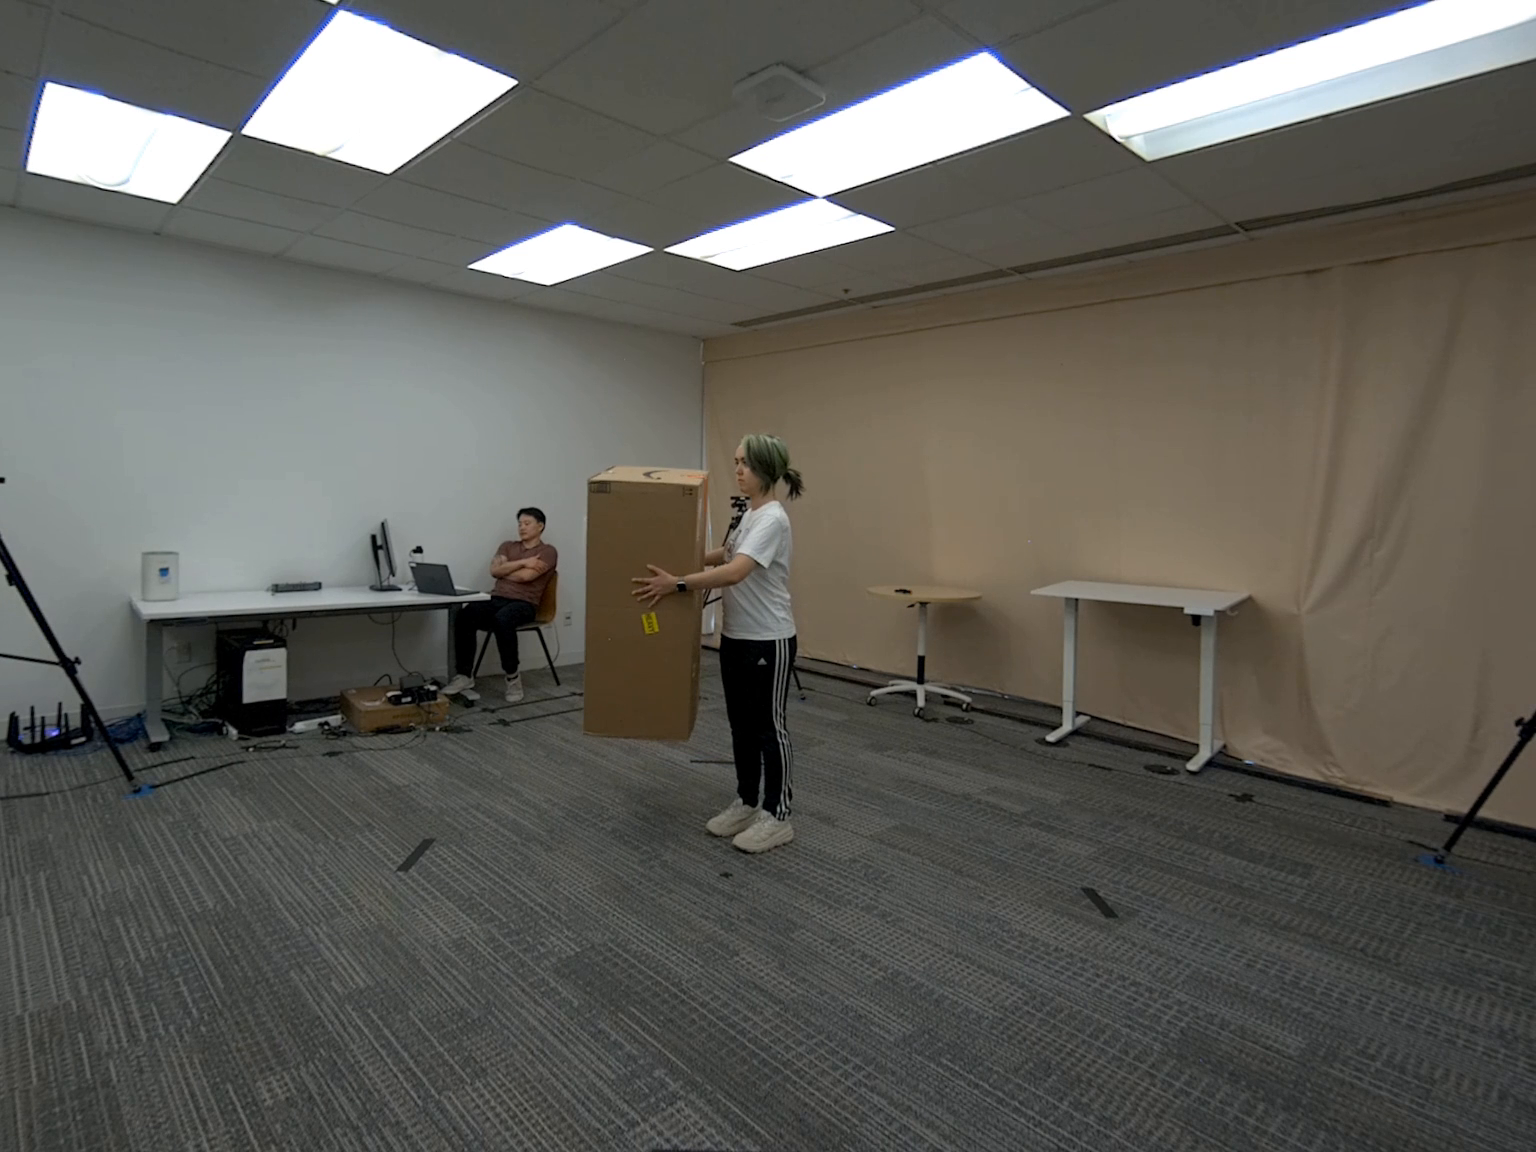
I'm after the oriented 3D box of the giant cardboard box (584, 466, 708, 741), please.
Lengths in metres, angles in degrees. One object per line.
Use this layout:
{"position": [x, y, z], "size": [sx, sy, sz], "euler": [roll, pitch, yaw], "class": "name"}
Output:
{"position": [-0.500, 0.088, 3.512], "size": [0.427, 1.018, 0.581], "euler": [3, 11, 1], "class": "giant cardboard box"}
